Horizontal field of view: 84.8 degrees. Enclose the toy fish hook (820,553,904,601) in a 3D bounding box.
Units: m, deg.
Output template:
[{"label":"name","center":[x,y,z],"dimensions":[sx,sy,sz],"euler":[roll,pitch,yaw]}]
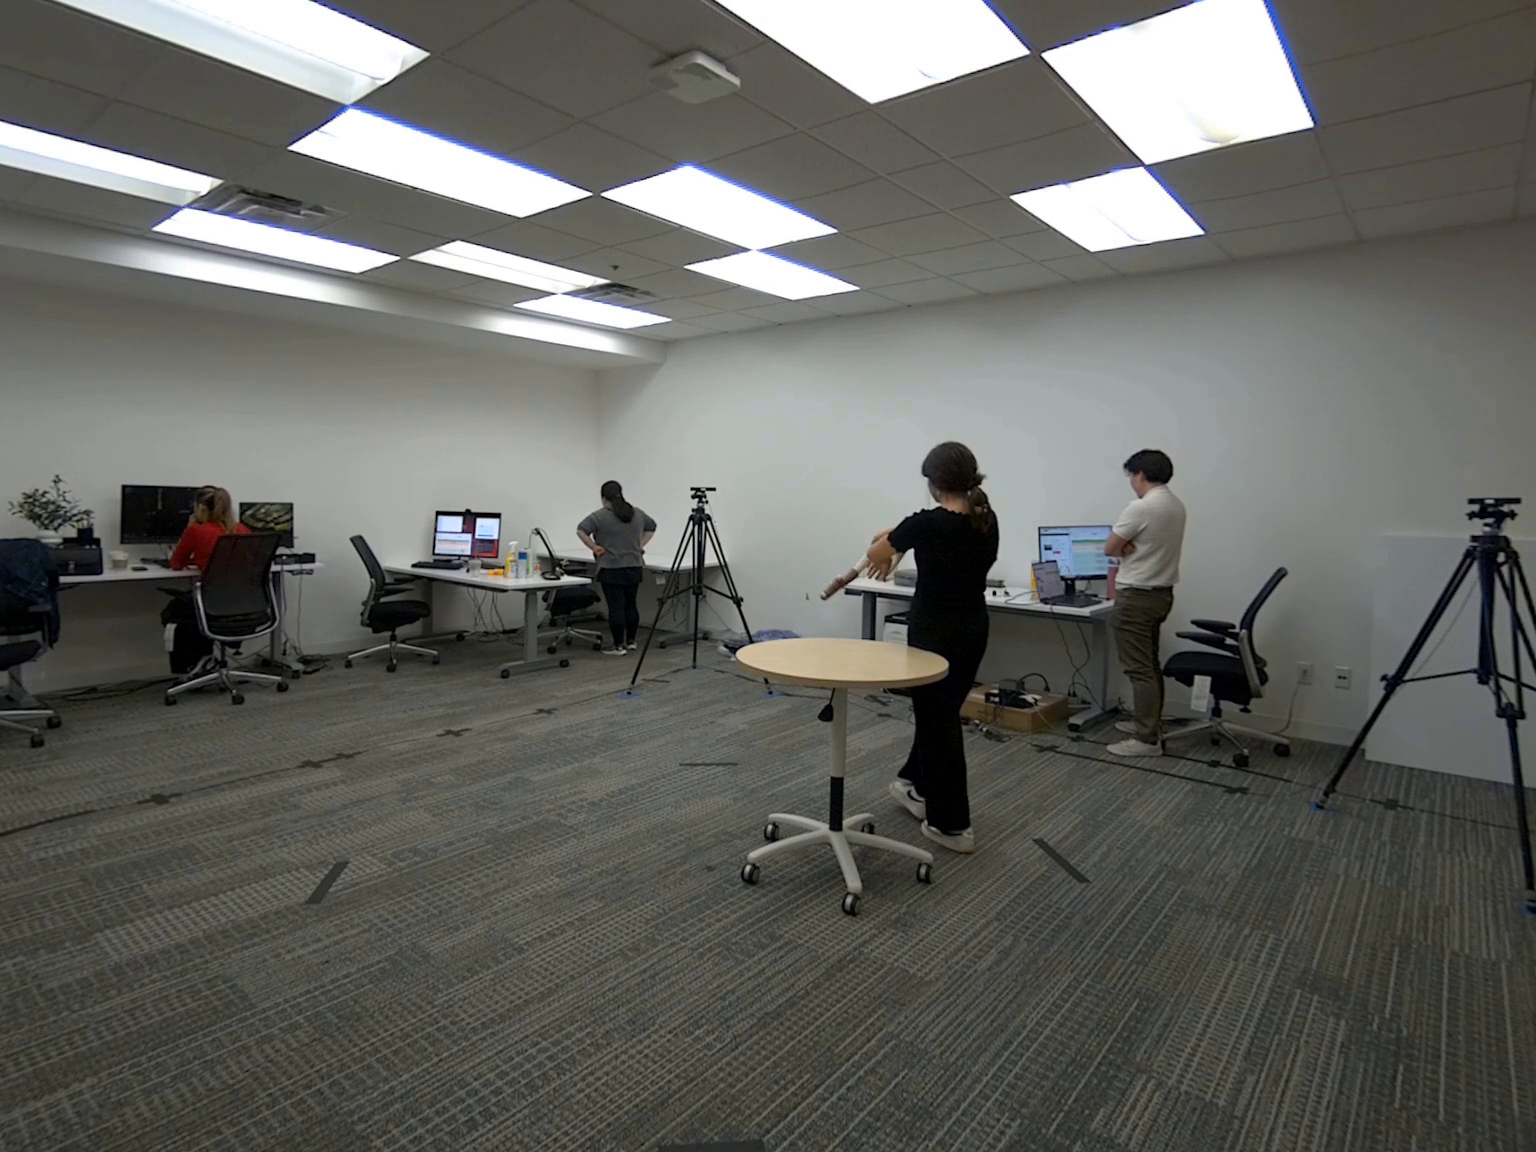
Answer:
[{"label":"toy fish hook","center":[0.421,-0.025,3.728],"dimensions":[0.504,0.216,0.050],"euler":[-38,38,-19]}]
